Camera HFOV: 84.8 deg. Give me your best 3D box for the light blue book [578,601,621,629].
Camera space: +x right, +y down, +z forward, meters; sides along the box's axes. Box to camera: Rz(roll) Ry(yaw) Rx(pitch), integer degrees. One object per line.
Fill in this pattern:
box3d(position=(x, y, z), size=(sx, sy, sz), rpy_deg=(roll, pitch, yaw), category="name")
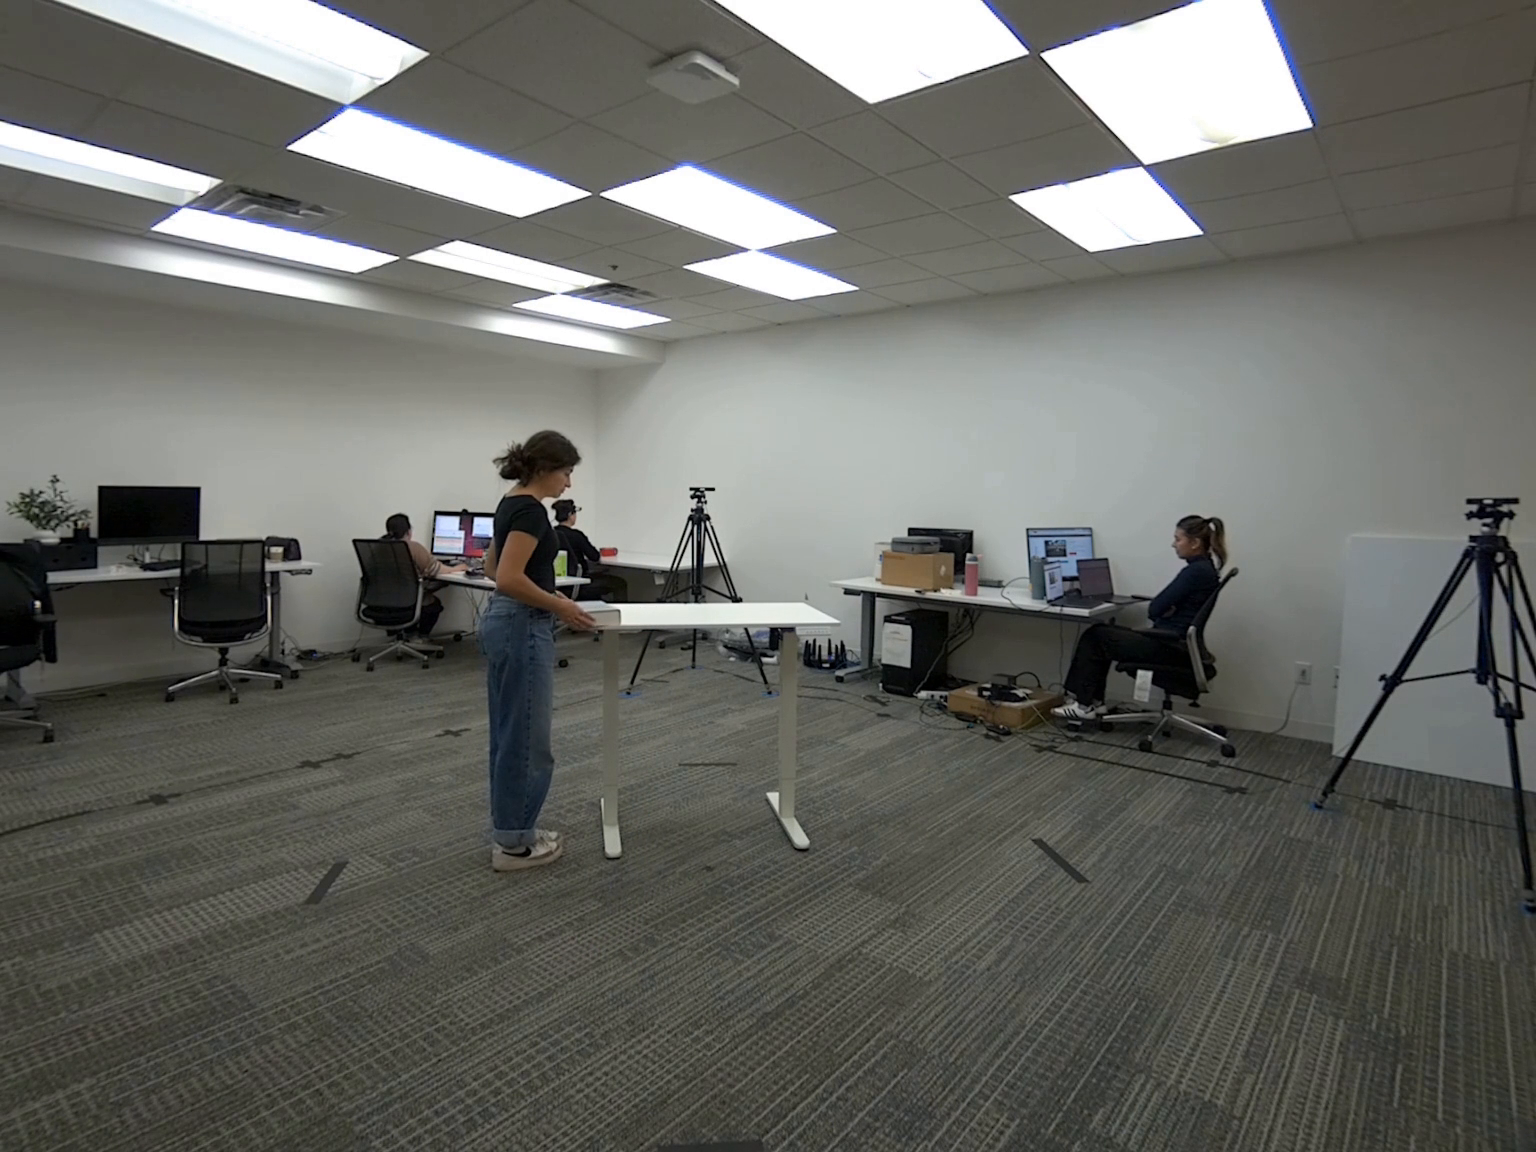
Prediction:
box3d(position=(-0.691, 0.144, 3.218), size=(0.187, 0.059, 0.268), rpy_deg=(-3, 6, -25), category="light blue book")
